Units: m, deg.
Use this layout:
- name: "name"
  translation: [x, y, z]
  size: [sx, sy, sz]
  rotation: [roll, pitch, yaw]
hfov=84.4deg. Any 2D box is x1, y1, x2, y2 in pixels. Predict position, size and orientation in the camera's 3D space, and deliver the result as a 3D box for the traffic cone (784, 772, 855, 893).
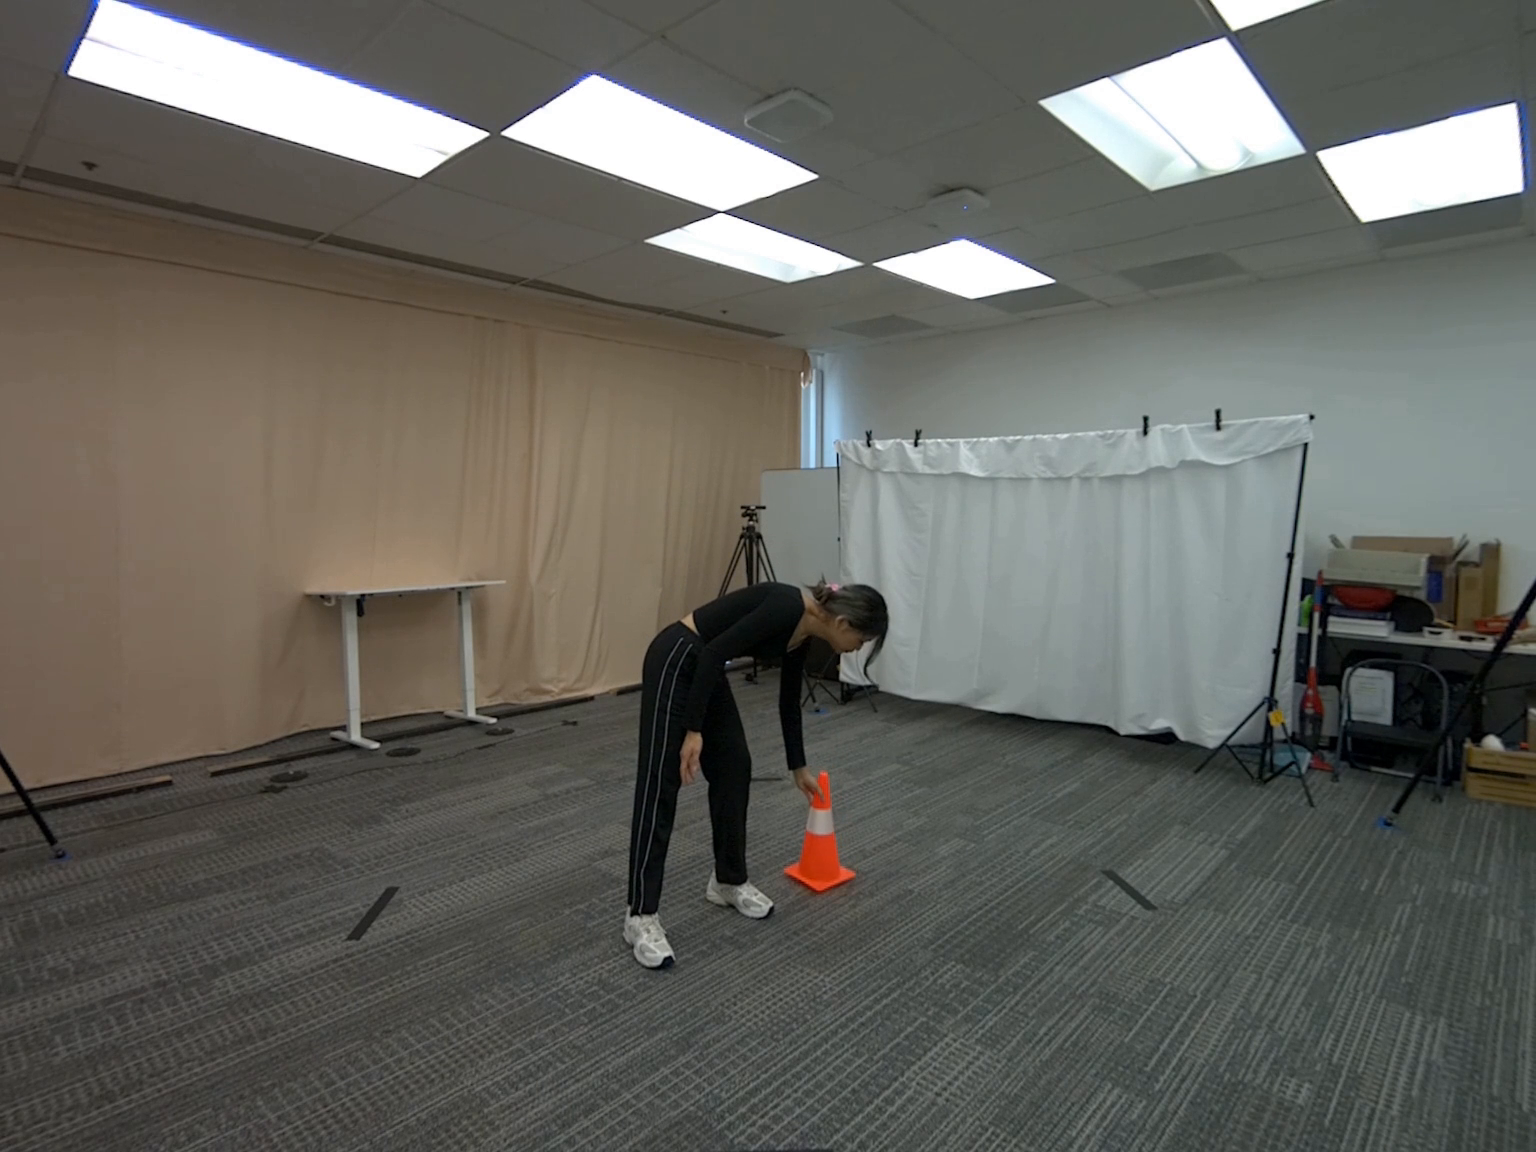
- name: "traffic cone"
  translation: [0.198, 0.921, 3.118]
  size: [0.197, 0.382, 0.212]
  rotation: [-3, 6, -37]
